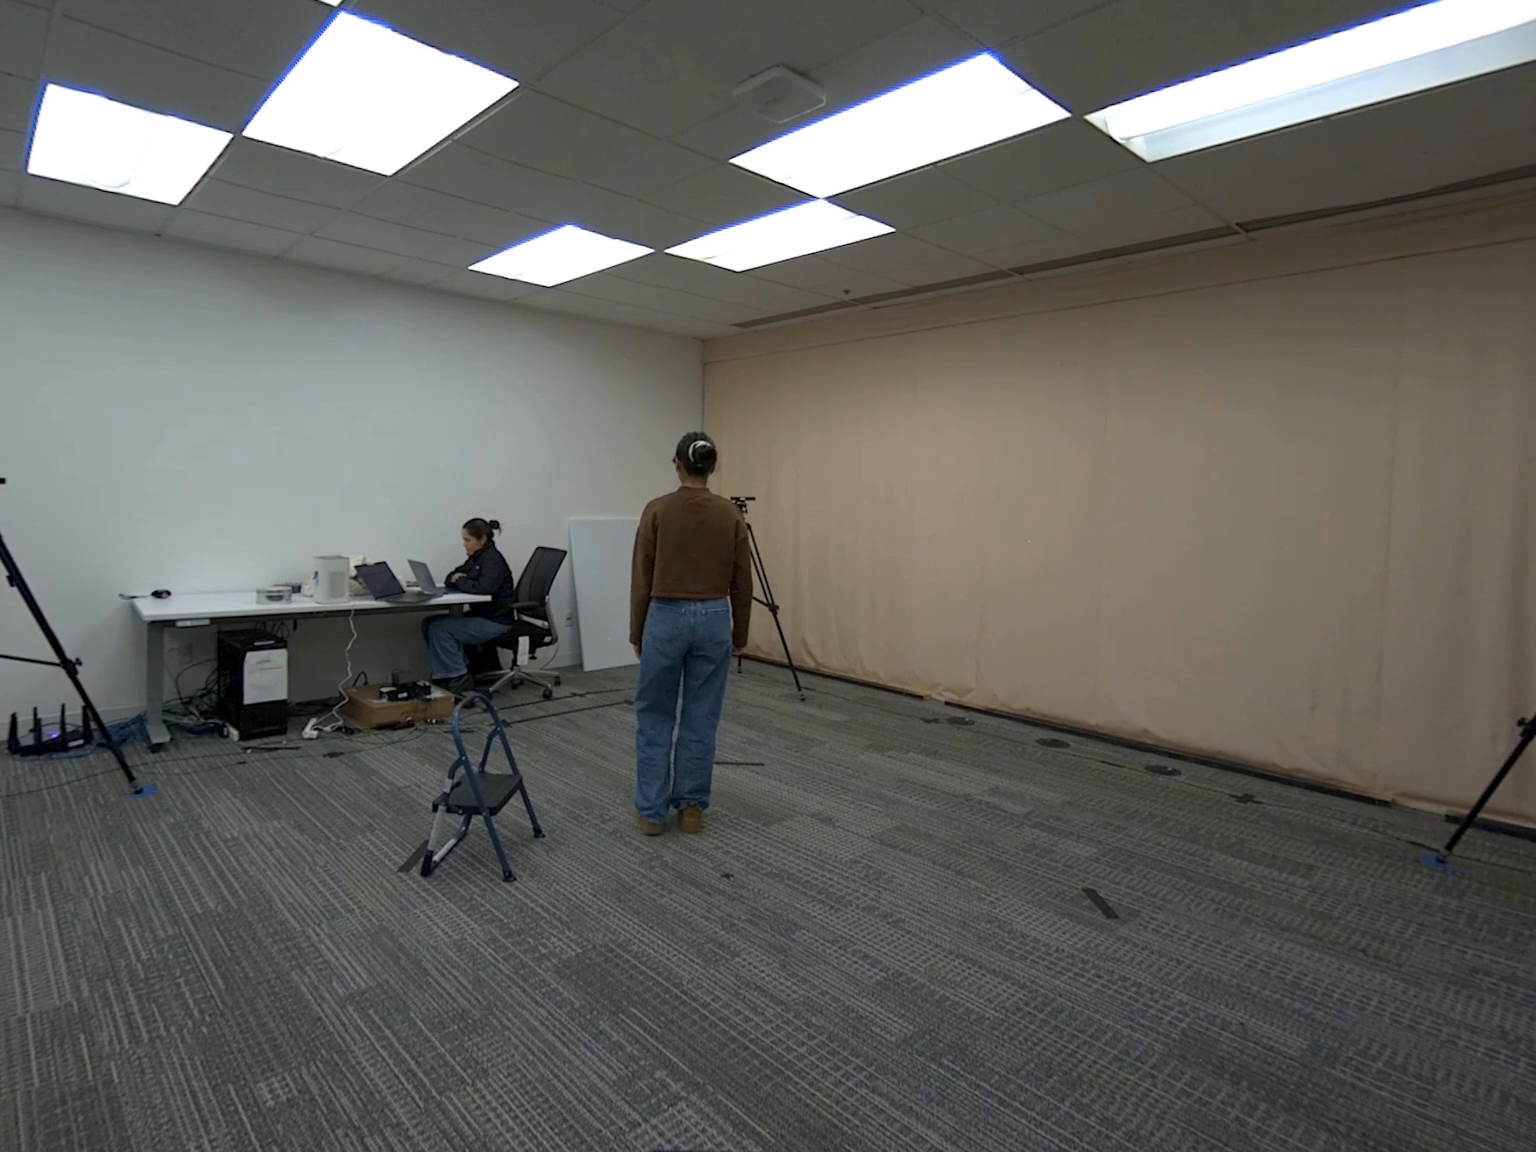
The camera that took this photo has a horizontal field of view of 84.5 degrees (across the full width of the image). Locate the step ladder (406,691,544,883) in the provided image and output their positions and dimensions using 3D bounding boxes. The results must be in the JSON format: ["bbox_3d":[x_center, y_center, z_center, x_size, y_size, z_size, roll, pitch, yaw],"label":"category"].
[{"bbox_3d":[-1.086,0.773,3.219,0.350,0.604,0.431,1,4,1],"label":"step ladder"}]
